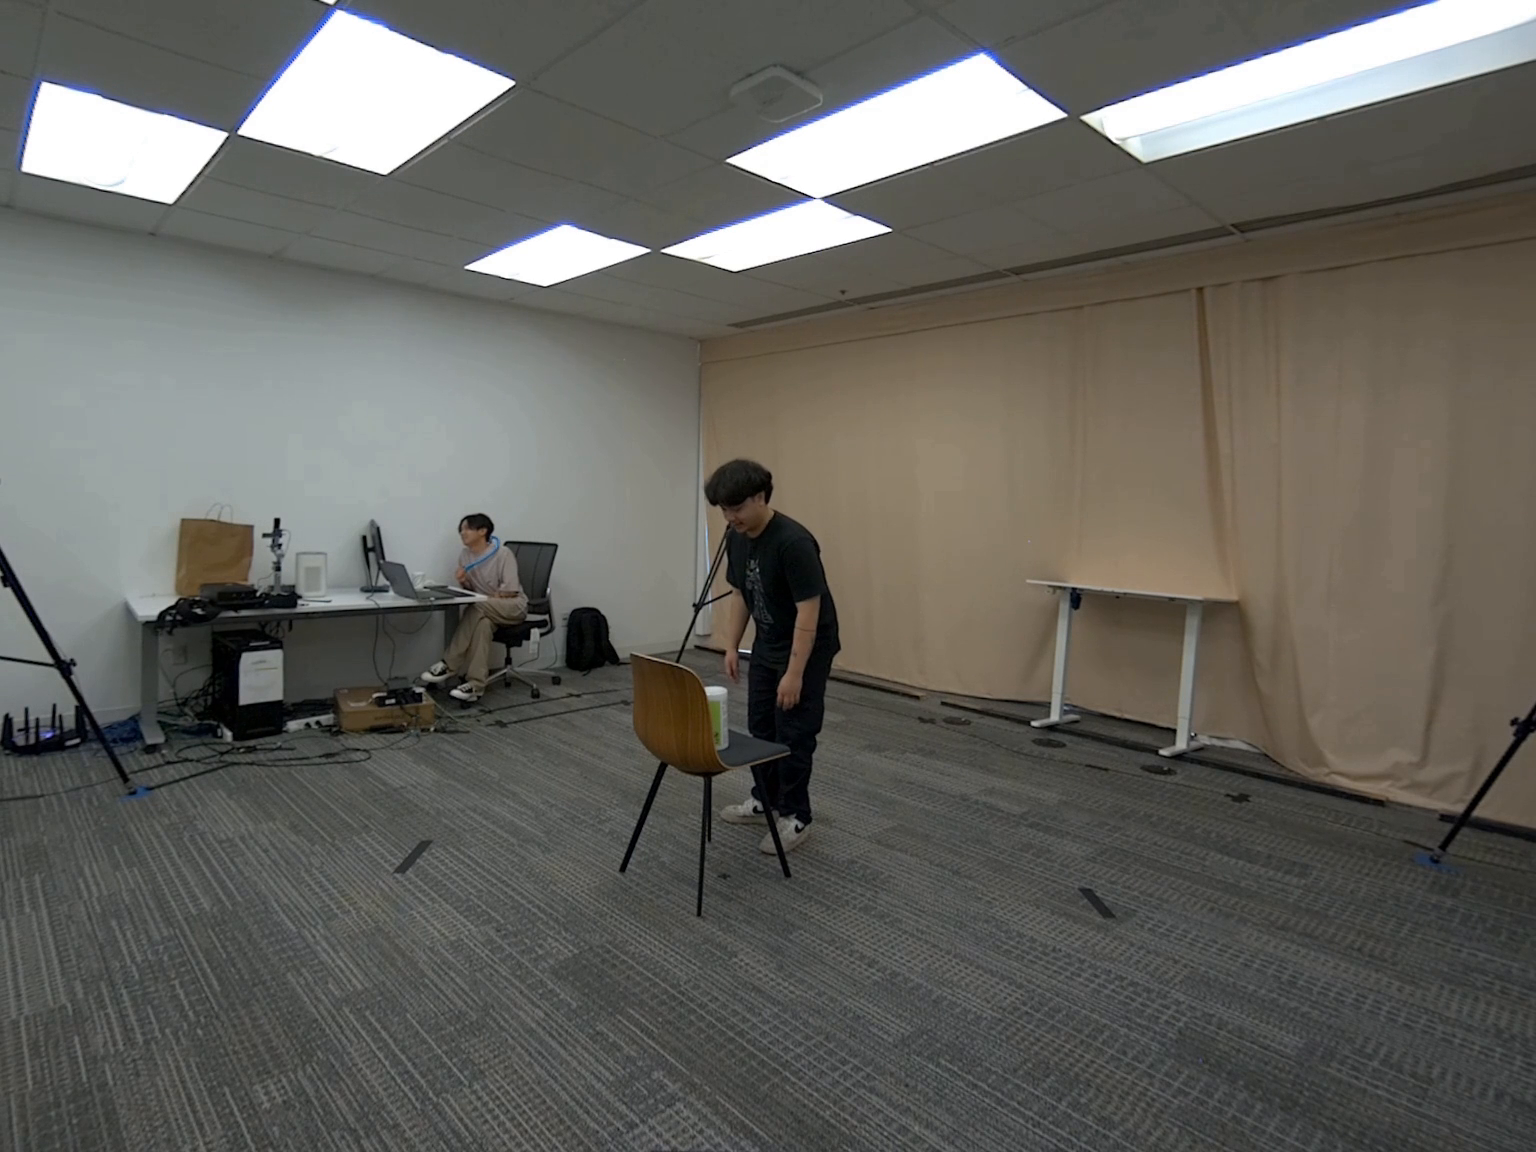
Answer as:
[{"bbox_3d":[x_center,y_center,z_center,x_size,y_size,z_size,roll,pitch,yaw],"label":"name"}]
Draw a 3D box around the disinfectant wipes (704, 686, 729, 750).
[{"bbox_3d":[-0.209,0.529,3.102,0.118,0.216,0.118,-2,5,-1],"label":"disinfectant wipes"}]
